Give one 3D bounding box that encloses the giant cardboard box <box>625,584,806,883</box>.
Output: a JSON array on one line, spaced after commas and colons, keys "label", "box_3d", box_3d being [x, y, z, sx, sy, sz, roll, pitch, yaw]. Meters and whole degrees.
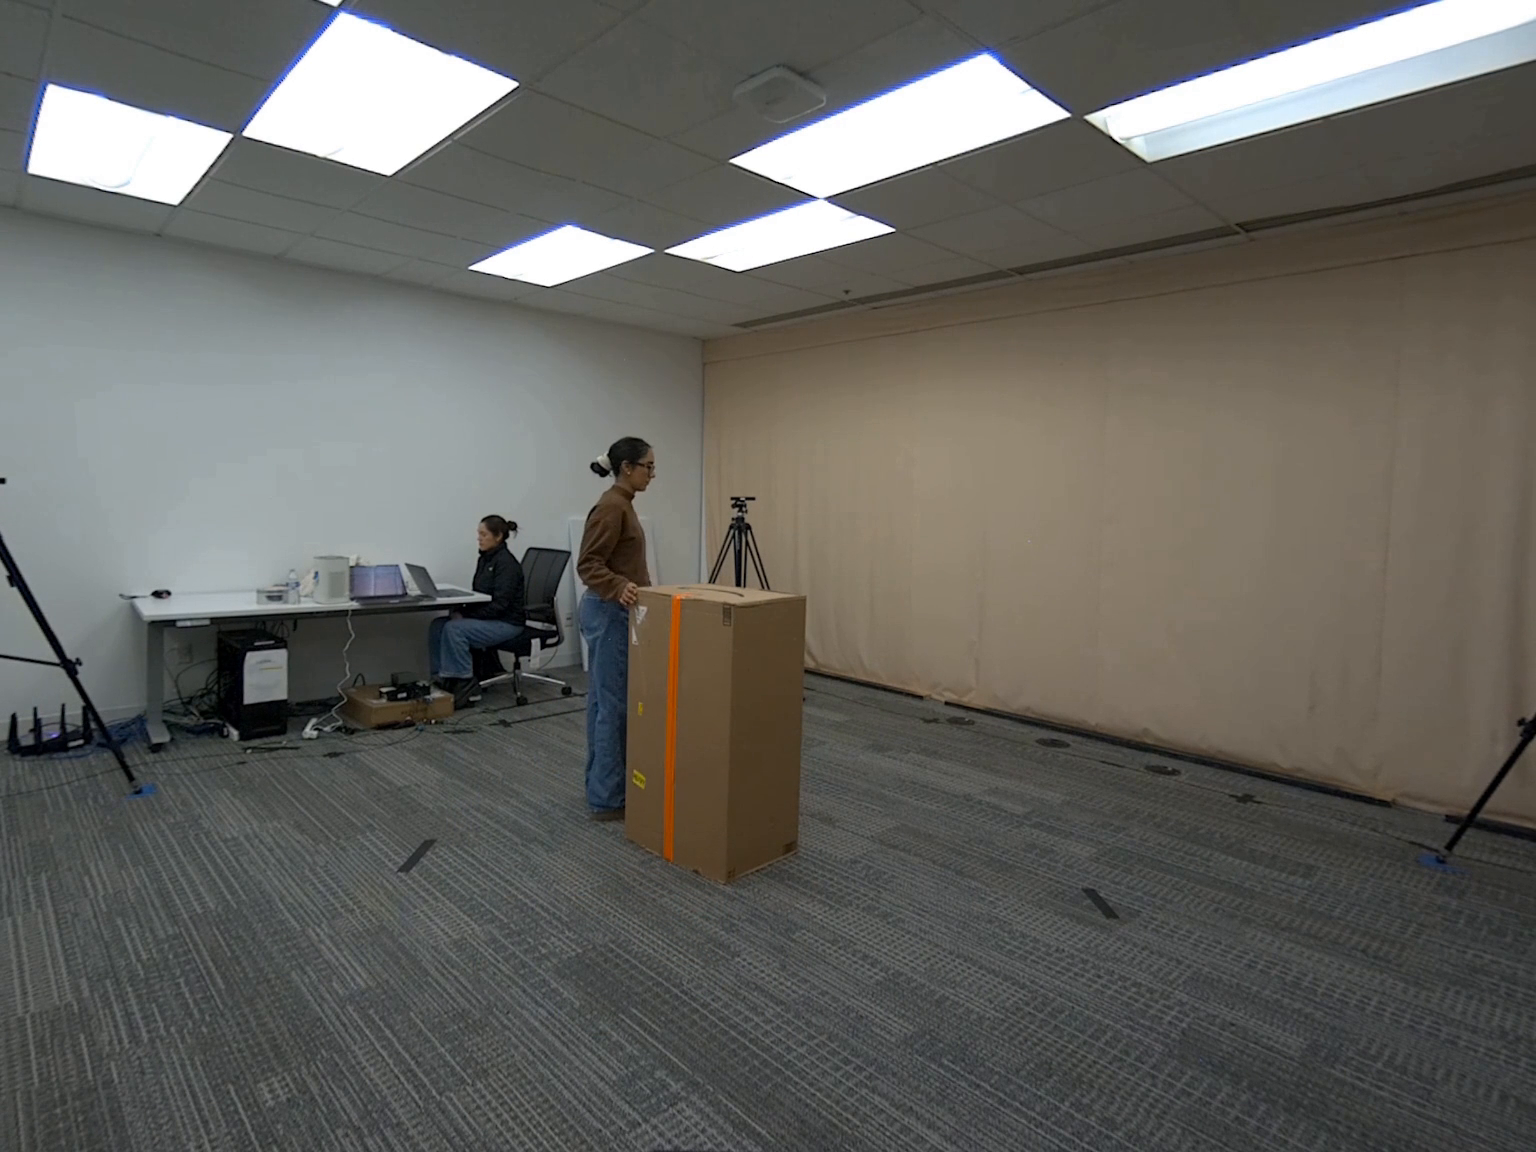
[{"label": "giant cardboard box", "box_3d": [-0.220, 0.575, 3.340, 0.592, 1.023, 0.416, 5, 4, 43]}]
